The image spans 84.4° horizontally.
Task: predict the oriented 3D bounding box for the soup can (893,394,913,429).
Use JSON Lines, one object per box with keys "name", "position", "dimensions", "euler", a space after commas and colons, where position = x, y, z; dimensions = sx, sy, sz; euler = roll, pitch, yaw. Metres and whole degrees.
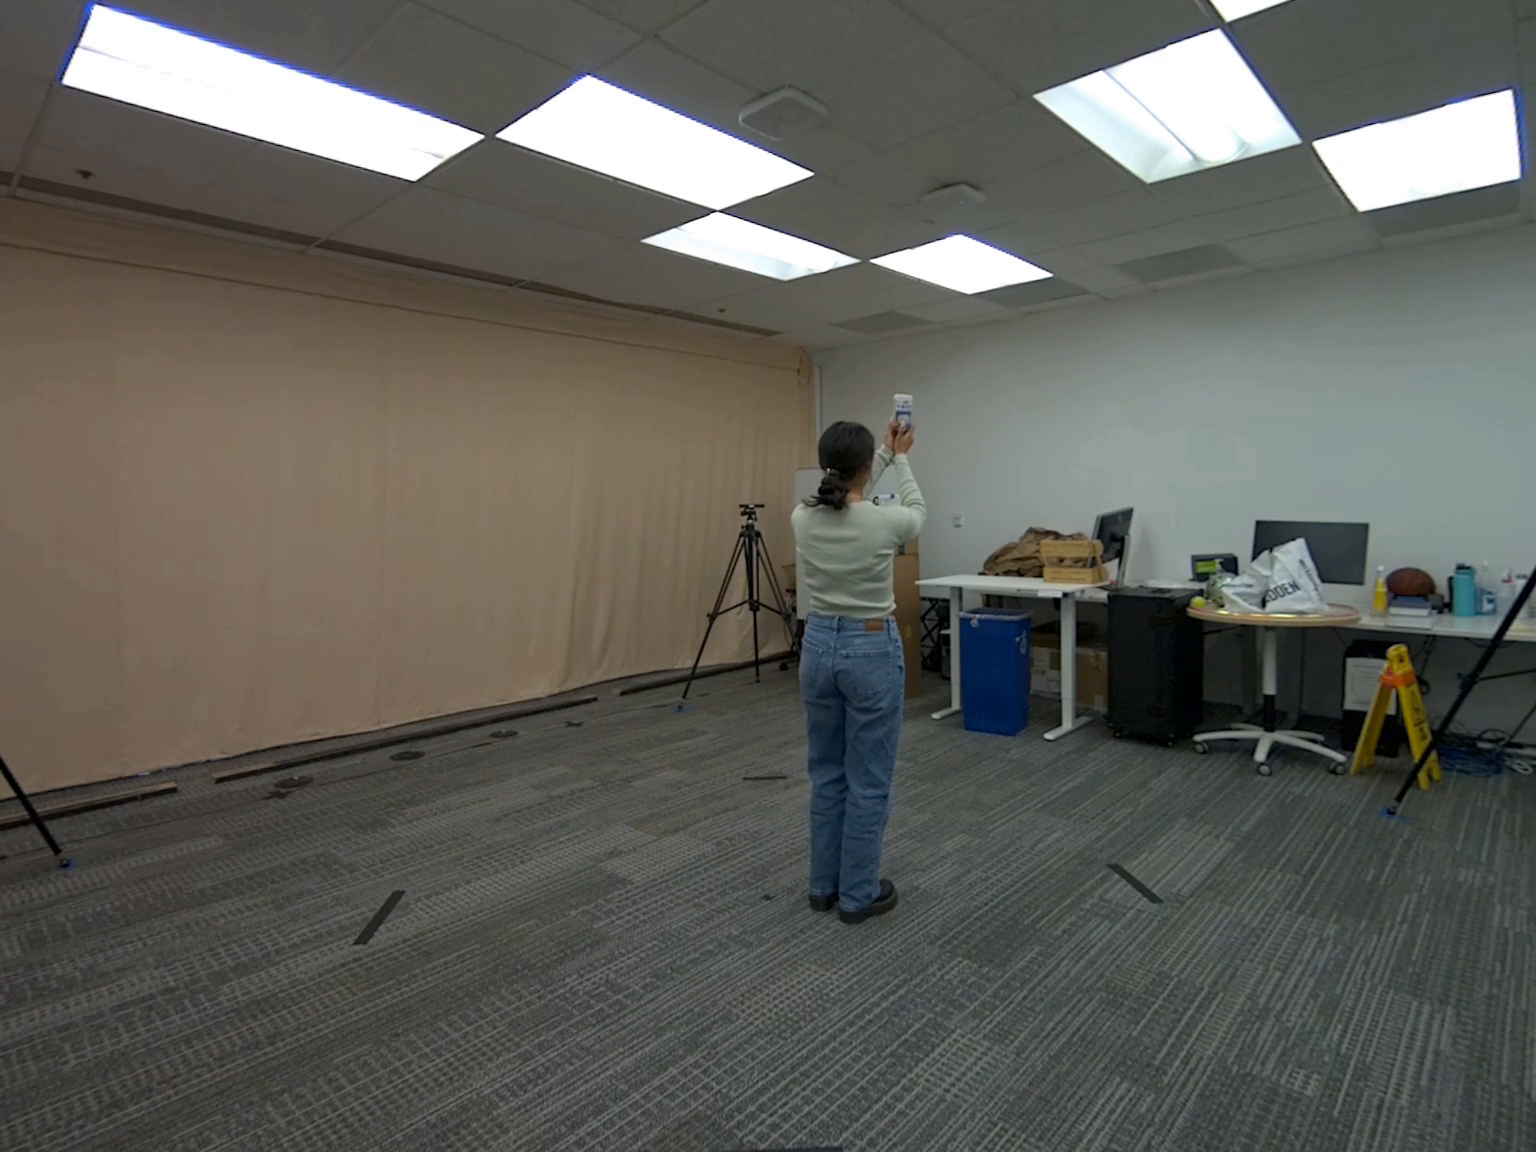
{"name": "soup can", "position": [0.471, -0.585, 3.015], "dimensions": [0.067, 0.120, 0.068], "euler": [2, 15, -3]}
